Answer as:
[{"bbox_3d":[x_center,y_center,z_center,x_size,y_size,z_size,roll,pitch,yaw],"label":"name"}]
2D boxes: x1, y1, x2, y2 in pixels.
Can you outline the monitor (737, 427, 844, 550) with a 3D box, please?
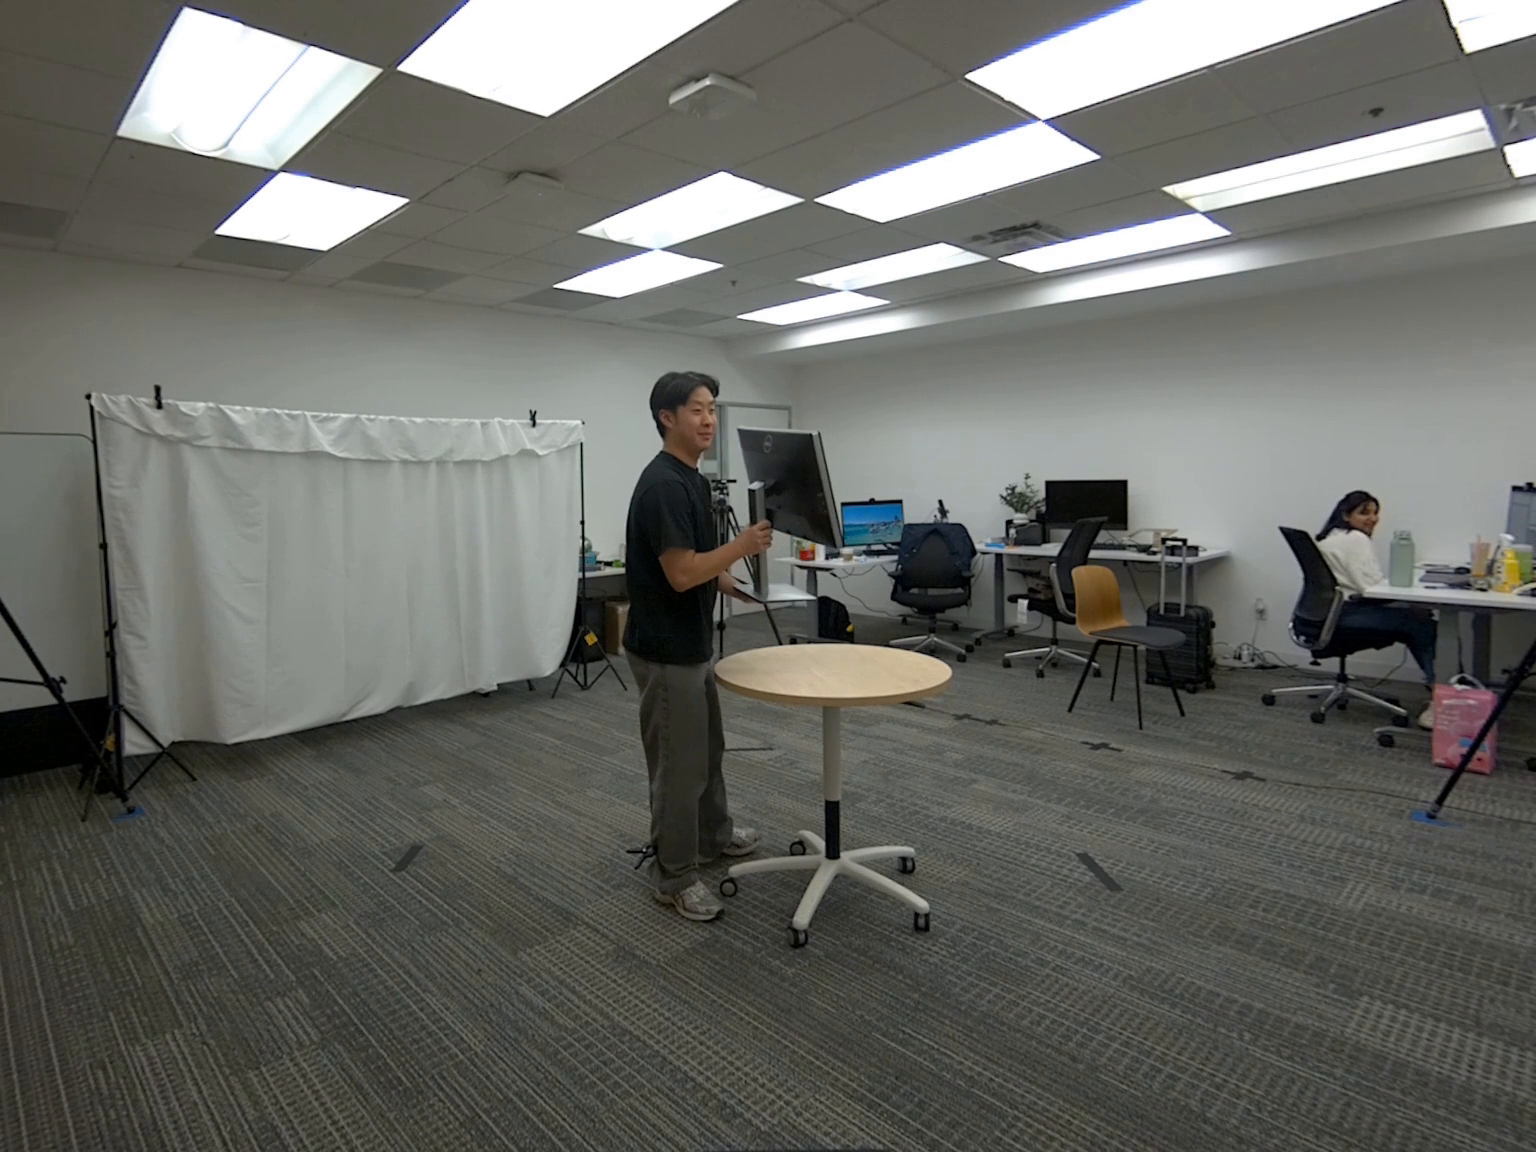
[{"bbox_3d":[0.027,-0.192,2.789,0.218,0.561,0.577,-1,11,-22],"label":"monitor"}]
